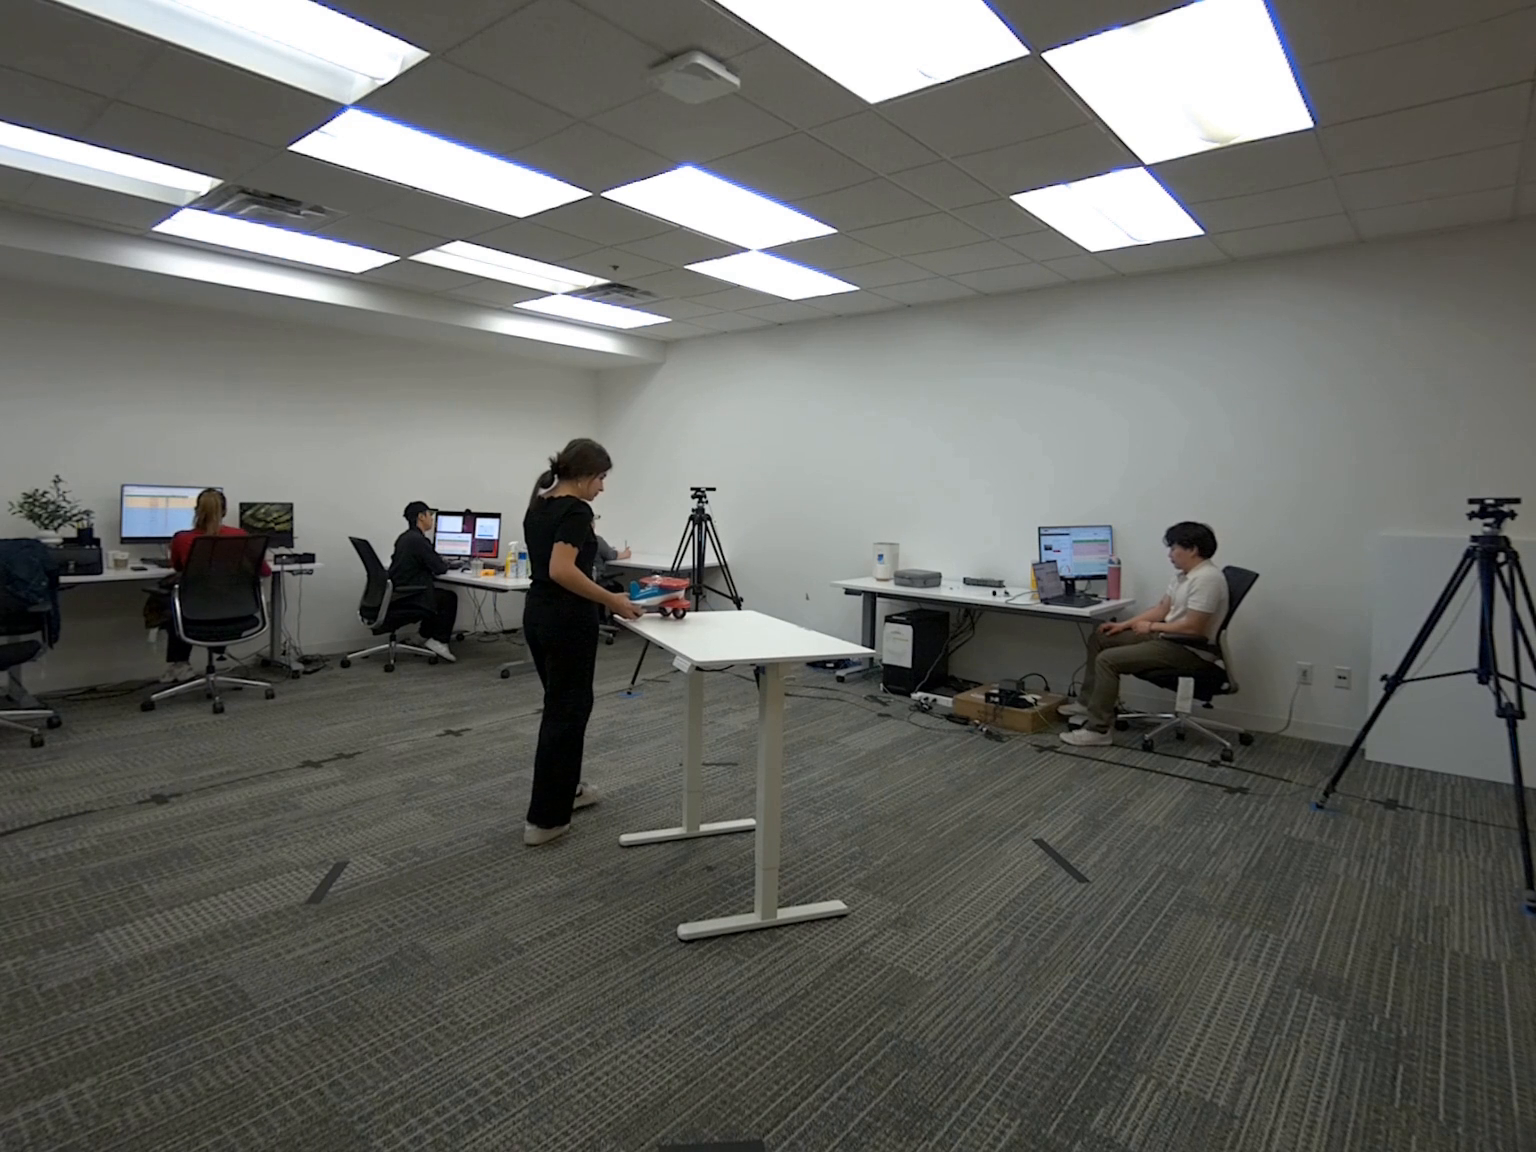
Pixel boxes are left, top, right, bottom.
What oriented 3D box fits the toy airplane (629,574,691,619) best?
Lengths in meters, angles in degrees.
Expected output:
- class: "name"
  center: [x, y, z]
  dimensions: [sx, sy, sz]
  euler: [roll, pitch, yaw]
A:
- class: "toy airplane"
  center: [-0.421, 0.081, 3.279]
  dimensions: [0.257, 0.157, 0.253]
  euler: [5, -1, 19]
